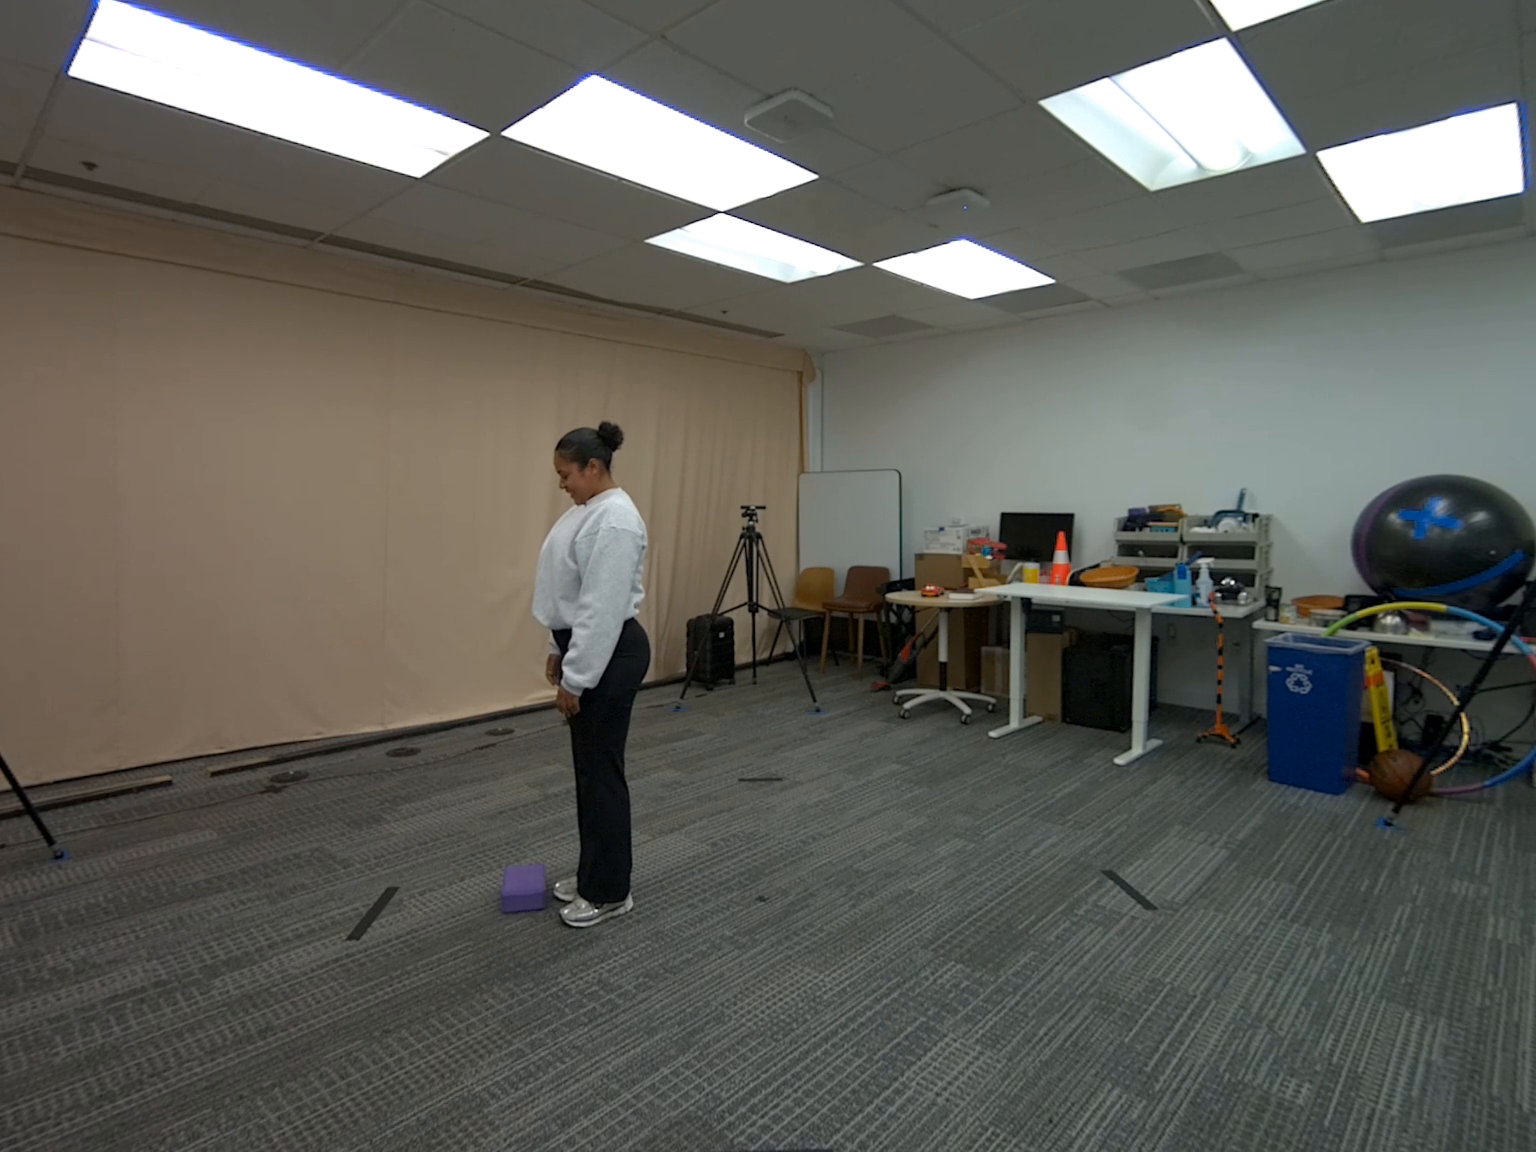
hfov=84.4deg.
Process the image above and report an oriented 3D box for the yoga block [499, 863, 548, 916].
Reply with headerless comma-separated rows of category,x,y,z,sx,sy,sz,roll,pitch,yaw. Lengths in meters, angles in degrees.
yoga block,-0.868,1.114,3.005,0.147,0.076,0.233,-1,5,-13
